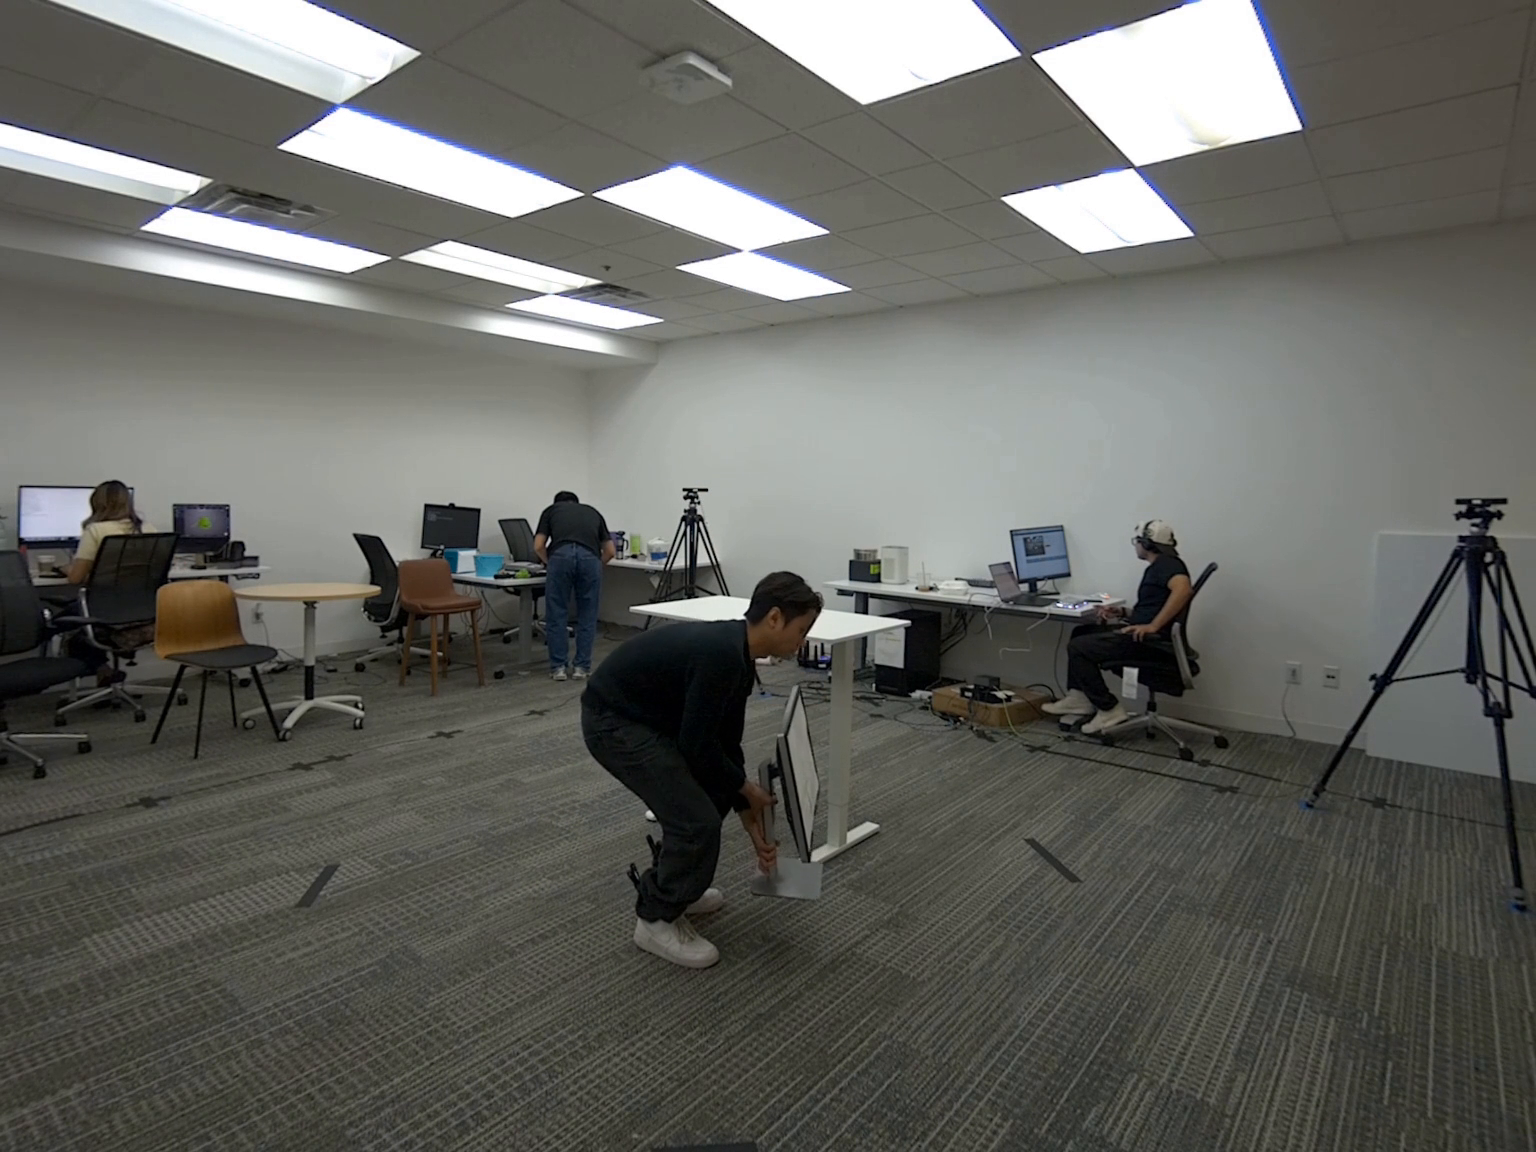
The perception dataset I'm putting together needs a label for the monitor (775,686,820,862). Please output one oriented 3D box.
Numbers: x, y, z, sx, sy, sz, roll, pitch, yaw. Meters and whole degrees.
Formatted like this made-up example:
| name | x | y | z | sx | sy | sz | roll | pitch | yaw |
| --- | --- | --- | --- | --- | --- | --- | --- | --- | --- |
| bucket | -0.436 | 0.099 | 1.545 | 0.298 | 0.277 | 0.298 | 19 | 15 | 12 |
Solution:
| name | x | y | z | sx | sy | sz | roll | pitch | yaw |
| --- | --- | --- | --- | --- | --- | --- | --- | --- | --- |
| monitor | 0.046 | 0.679 | 2.586 | 0.188 | 0.519 | 0.539 | 2 | 8 | 5 |
